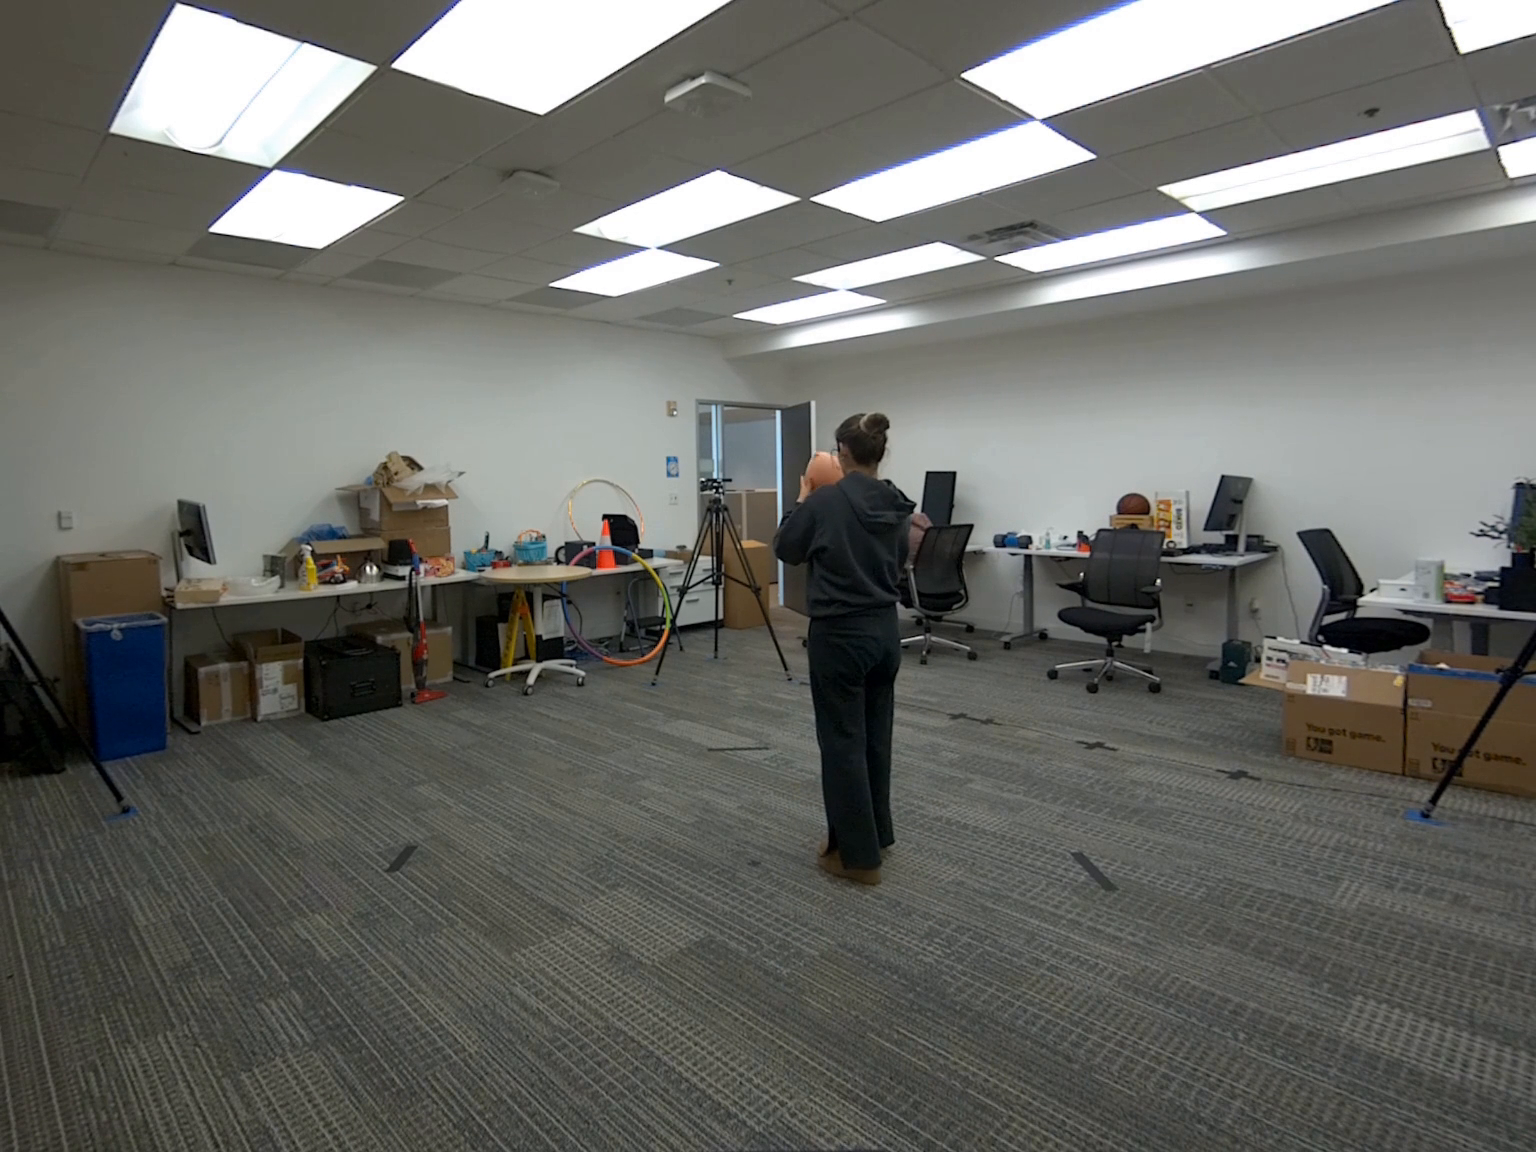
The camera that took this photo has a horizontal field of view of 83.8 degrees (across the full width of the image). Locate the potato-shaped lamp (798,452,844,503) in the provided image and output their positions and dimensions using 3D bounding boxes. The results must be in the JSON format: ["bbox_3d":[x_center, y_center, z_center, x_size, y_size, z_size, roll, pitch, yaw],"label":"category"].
[{"bbox_3d":[0.248,-0.376,3.284,0.199,0.171,0.164,19,2,4],"label":"potato-shaped lamp"}]
